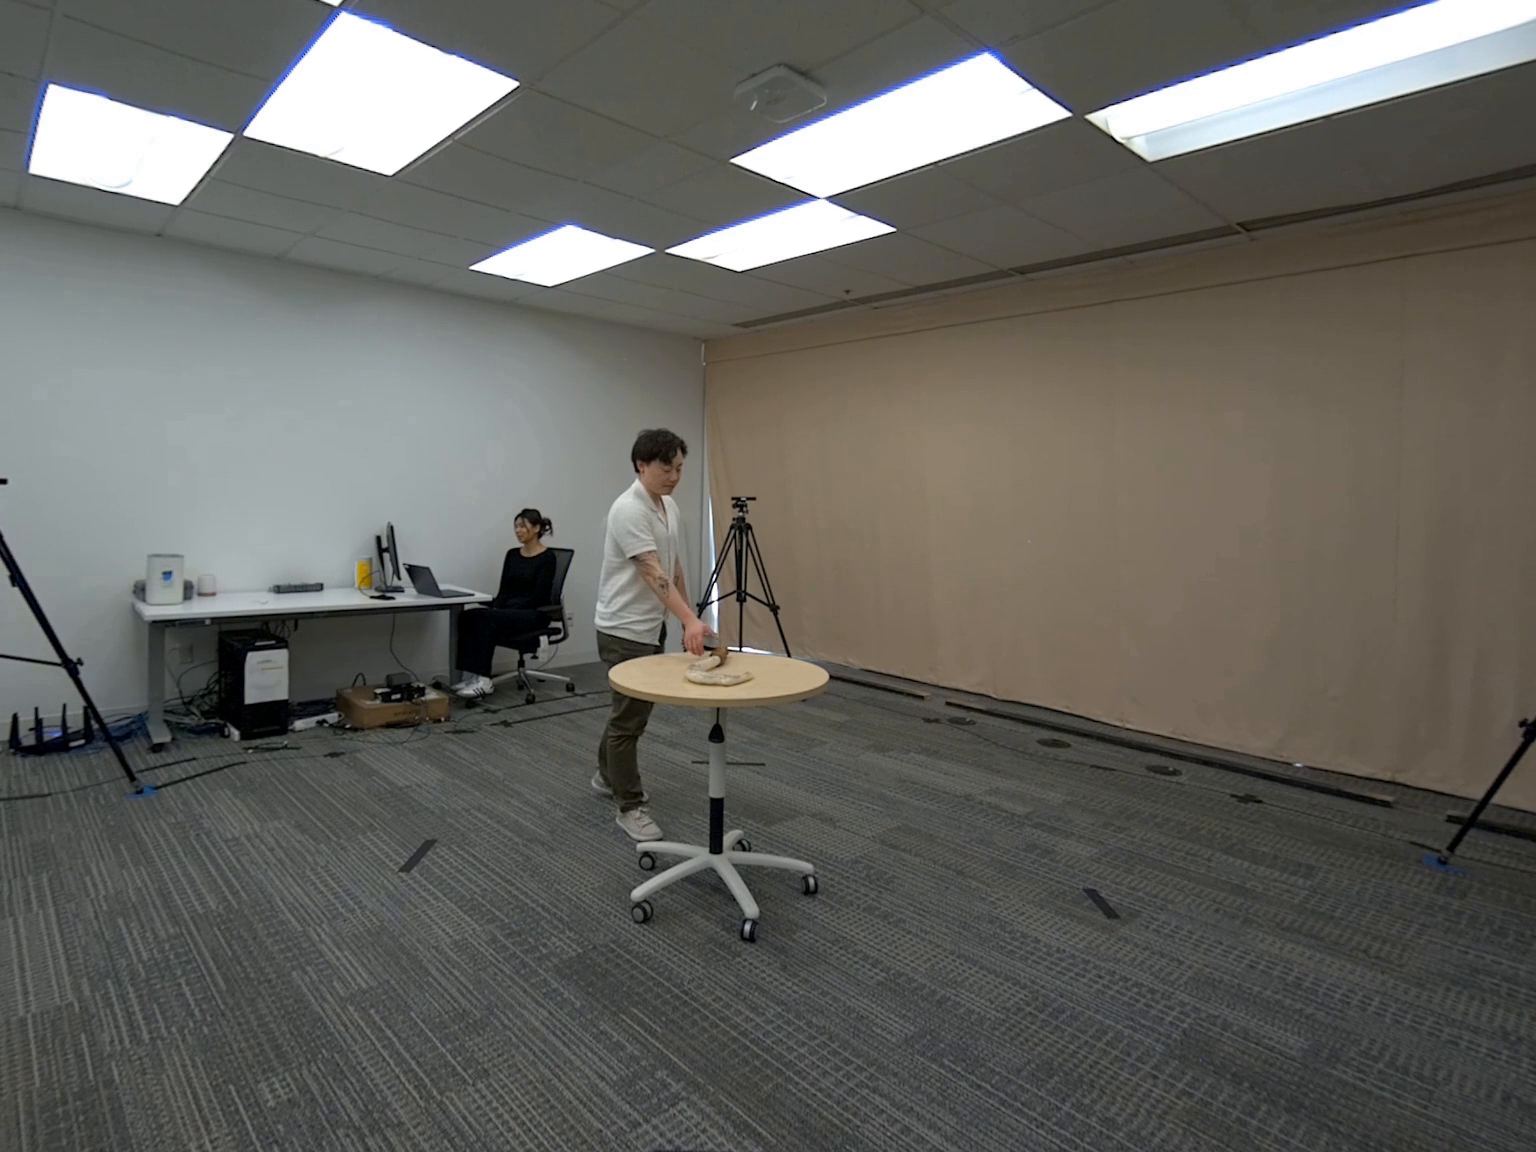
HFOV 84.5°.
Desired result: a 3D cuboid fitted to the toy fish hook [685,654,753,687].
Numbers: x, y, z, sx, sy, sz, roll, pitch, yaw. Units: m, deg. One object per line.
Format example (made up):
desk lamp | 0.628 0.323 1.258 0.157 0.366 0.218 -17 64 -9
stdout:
toy fish hook | -0.153 0.322 2.968 0.226 0.048 0.505 8 7 6
